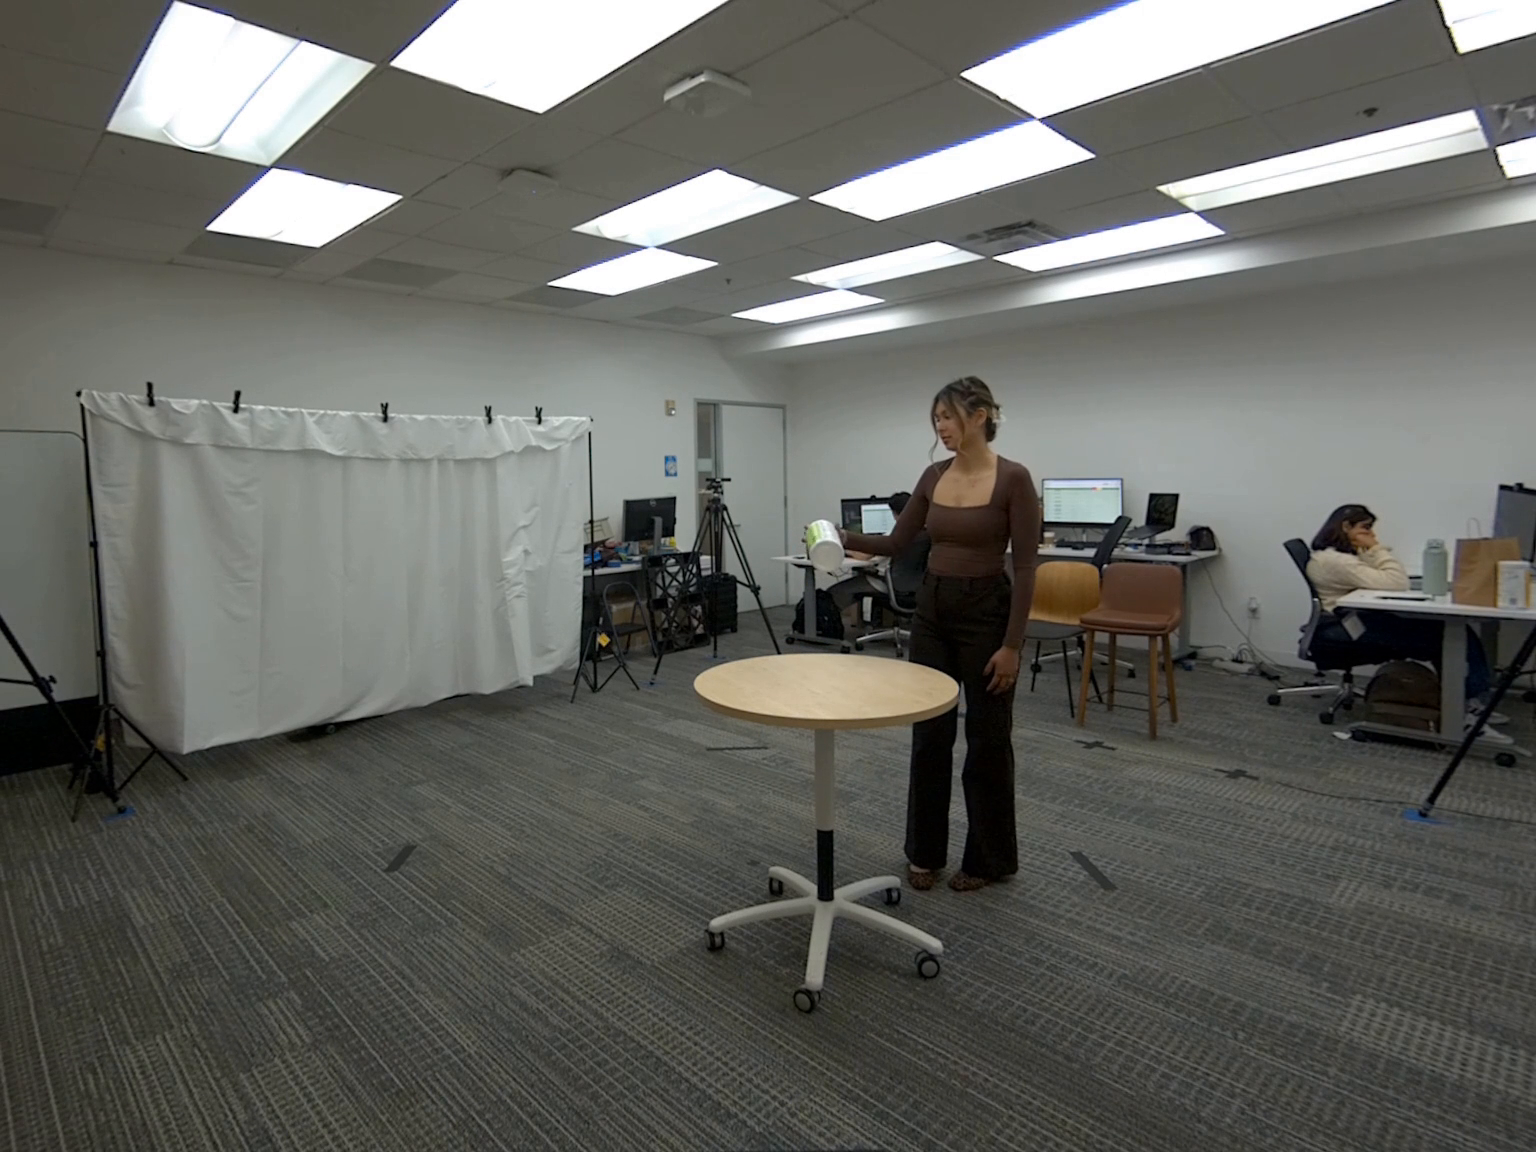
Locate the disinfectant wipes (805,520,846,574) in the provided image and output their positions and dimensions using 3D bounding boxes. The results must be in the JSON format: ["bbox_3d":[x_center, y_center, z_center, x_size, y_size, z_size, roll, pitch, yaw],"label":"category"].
[{"bbox_3d":[0.192,-0.098,2.770,0.118,0.115,0.221,-1,22,1],"label":"disinfectant wipes"}]
